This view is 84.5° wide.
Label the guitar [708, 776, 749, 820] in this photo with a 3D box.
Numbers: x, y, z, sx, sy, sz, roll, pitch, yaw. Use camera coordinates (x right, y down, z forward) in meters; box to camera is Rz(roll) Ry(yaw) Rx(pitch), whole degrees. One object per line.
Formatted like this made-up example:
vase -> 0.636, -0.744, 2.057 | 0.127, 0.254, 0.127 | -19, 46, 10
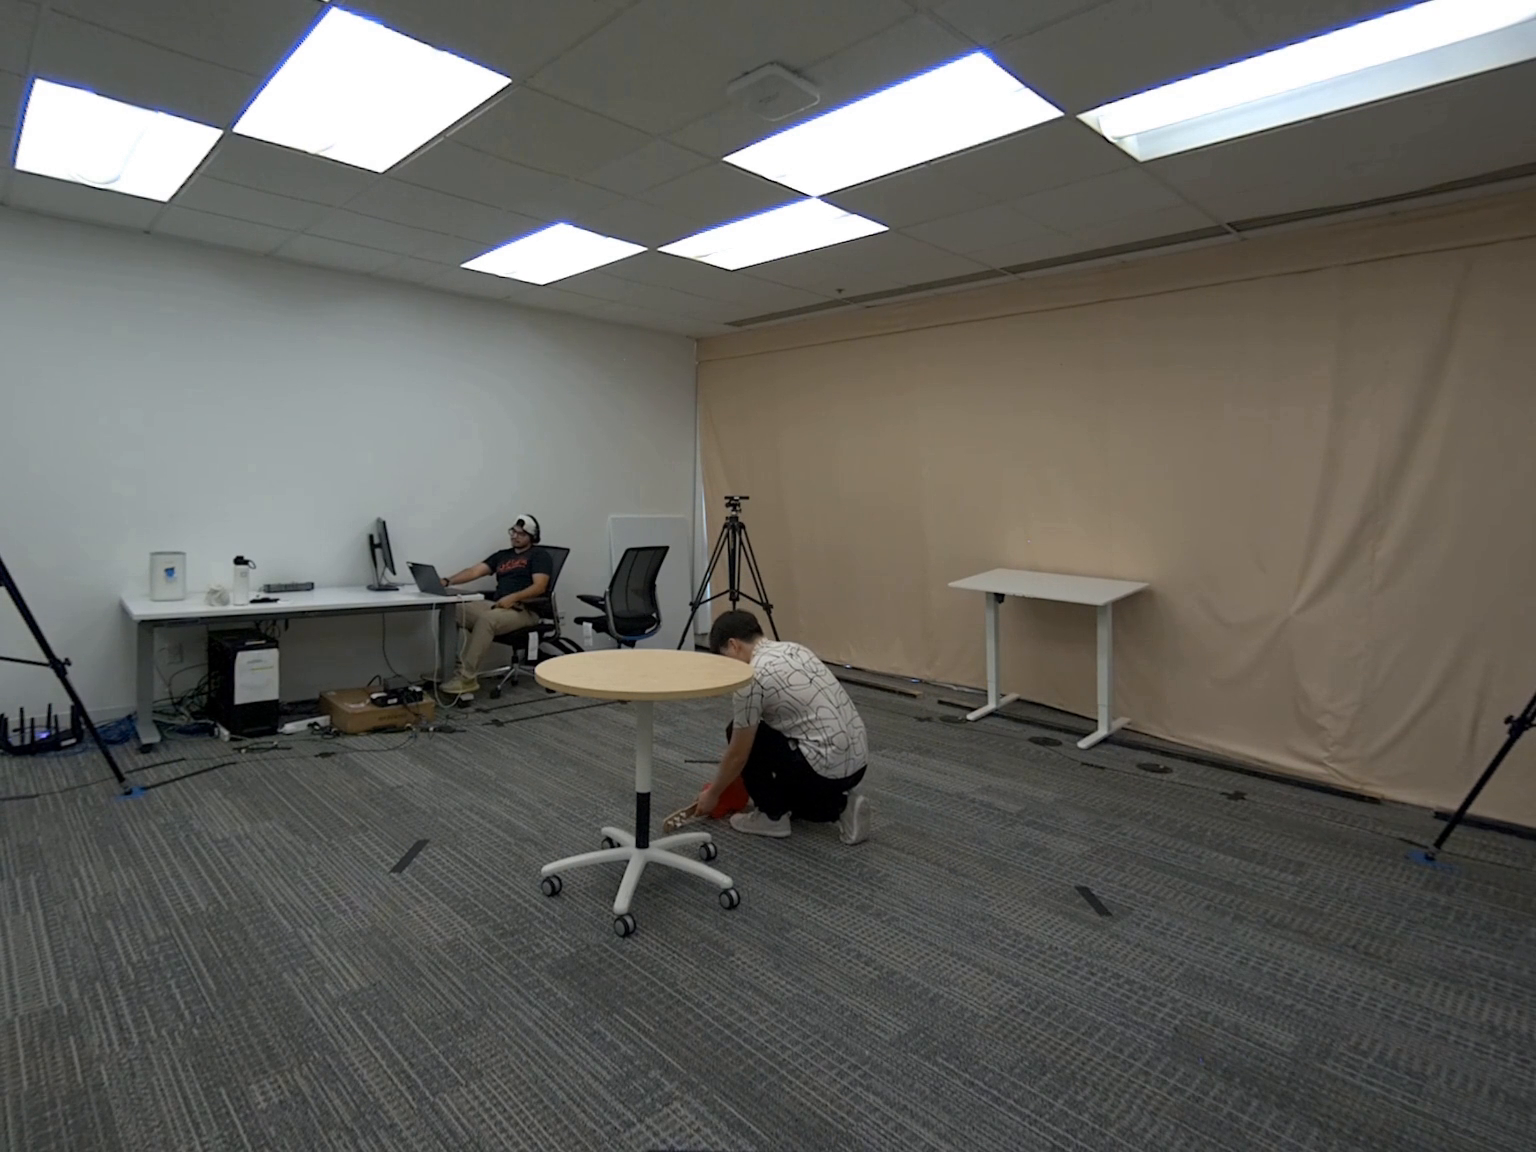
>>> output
guitar -> -0.252, 1.009, 3.653 | 0.072, 0.190, 0.493 | 1, 22, 40
